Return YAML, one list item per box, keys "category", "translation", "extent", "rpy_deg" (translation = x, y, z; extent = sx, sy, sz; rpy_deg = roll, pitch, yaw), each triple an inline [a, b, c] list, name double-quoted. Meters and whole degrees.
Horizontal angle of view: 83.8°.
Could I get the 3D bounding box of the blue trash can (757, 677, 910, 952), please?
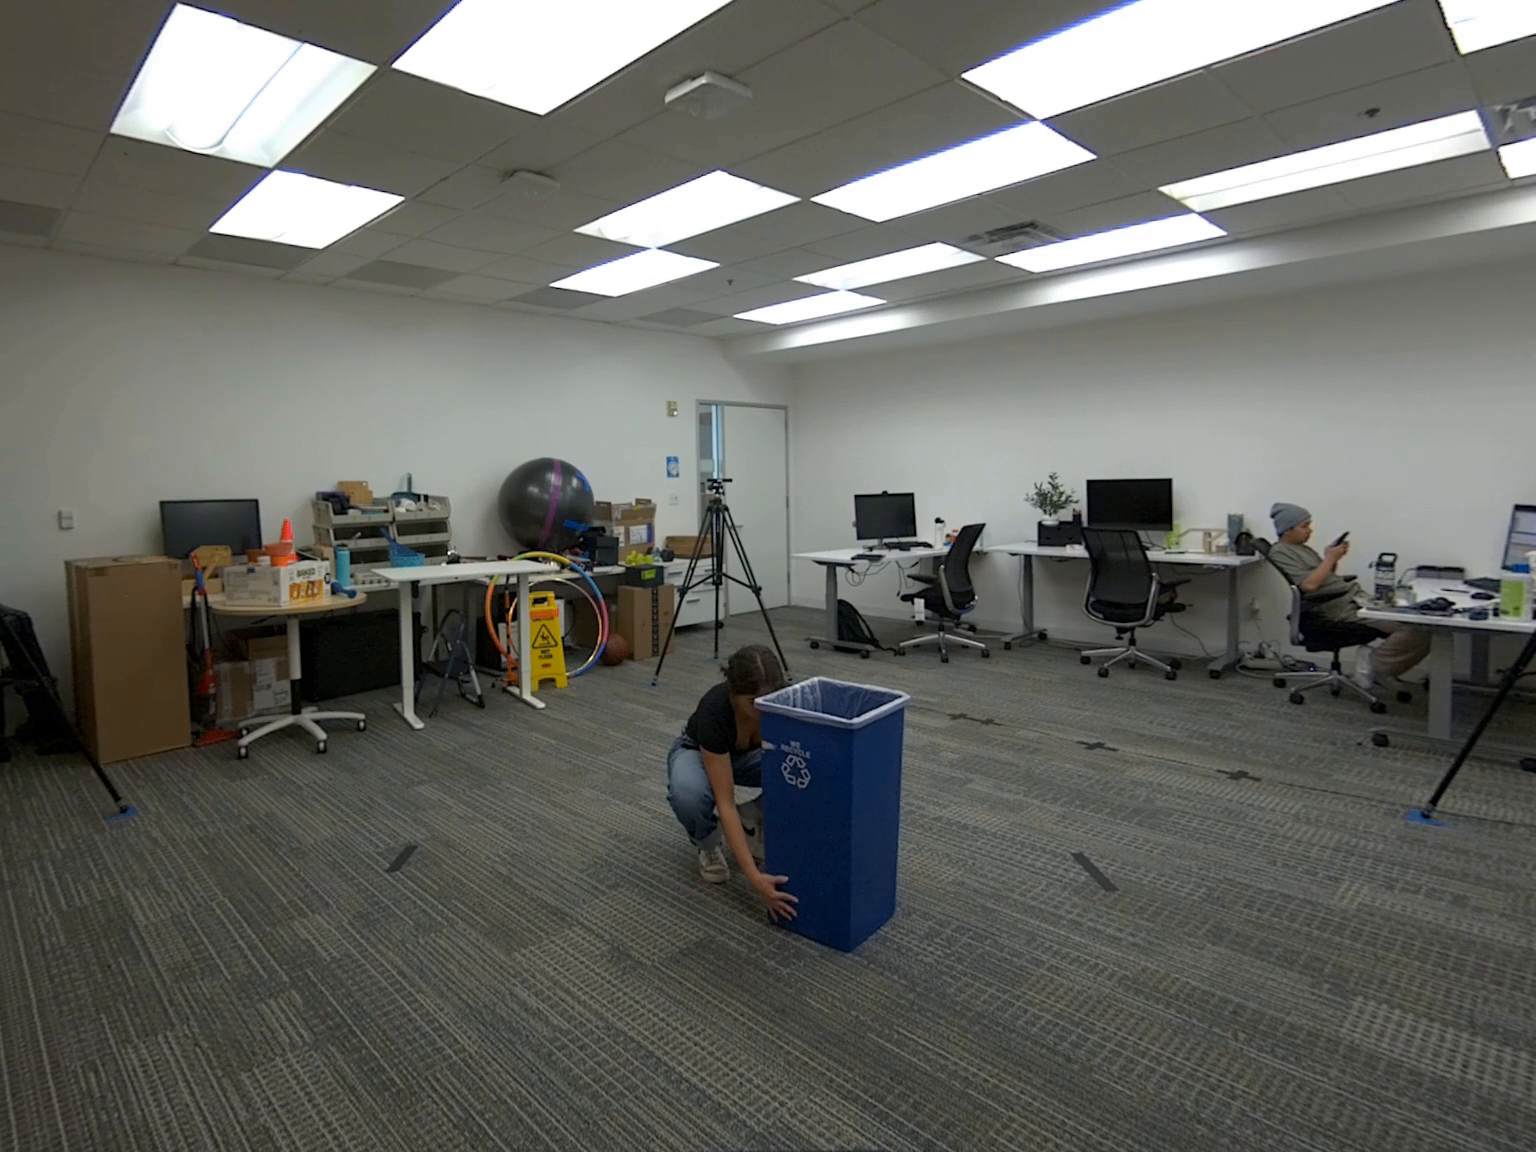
- category: "blue trash can"
  translation: [0.217, 0.728, 2.675]
  extent: [0.385, 0.710, 0.369]
  rpy_deg: [3, 7, 37]
